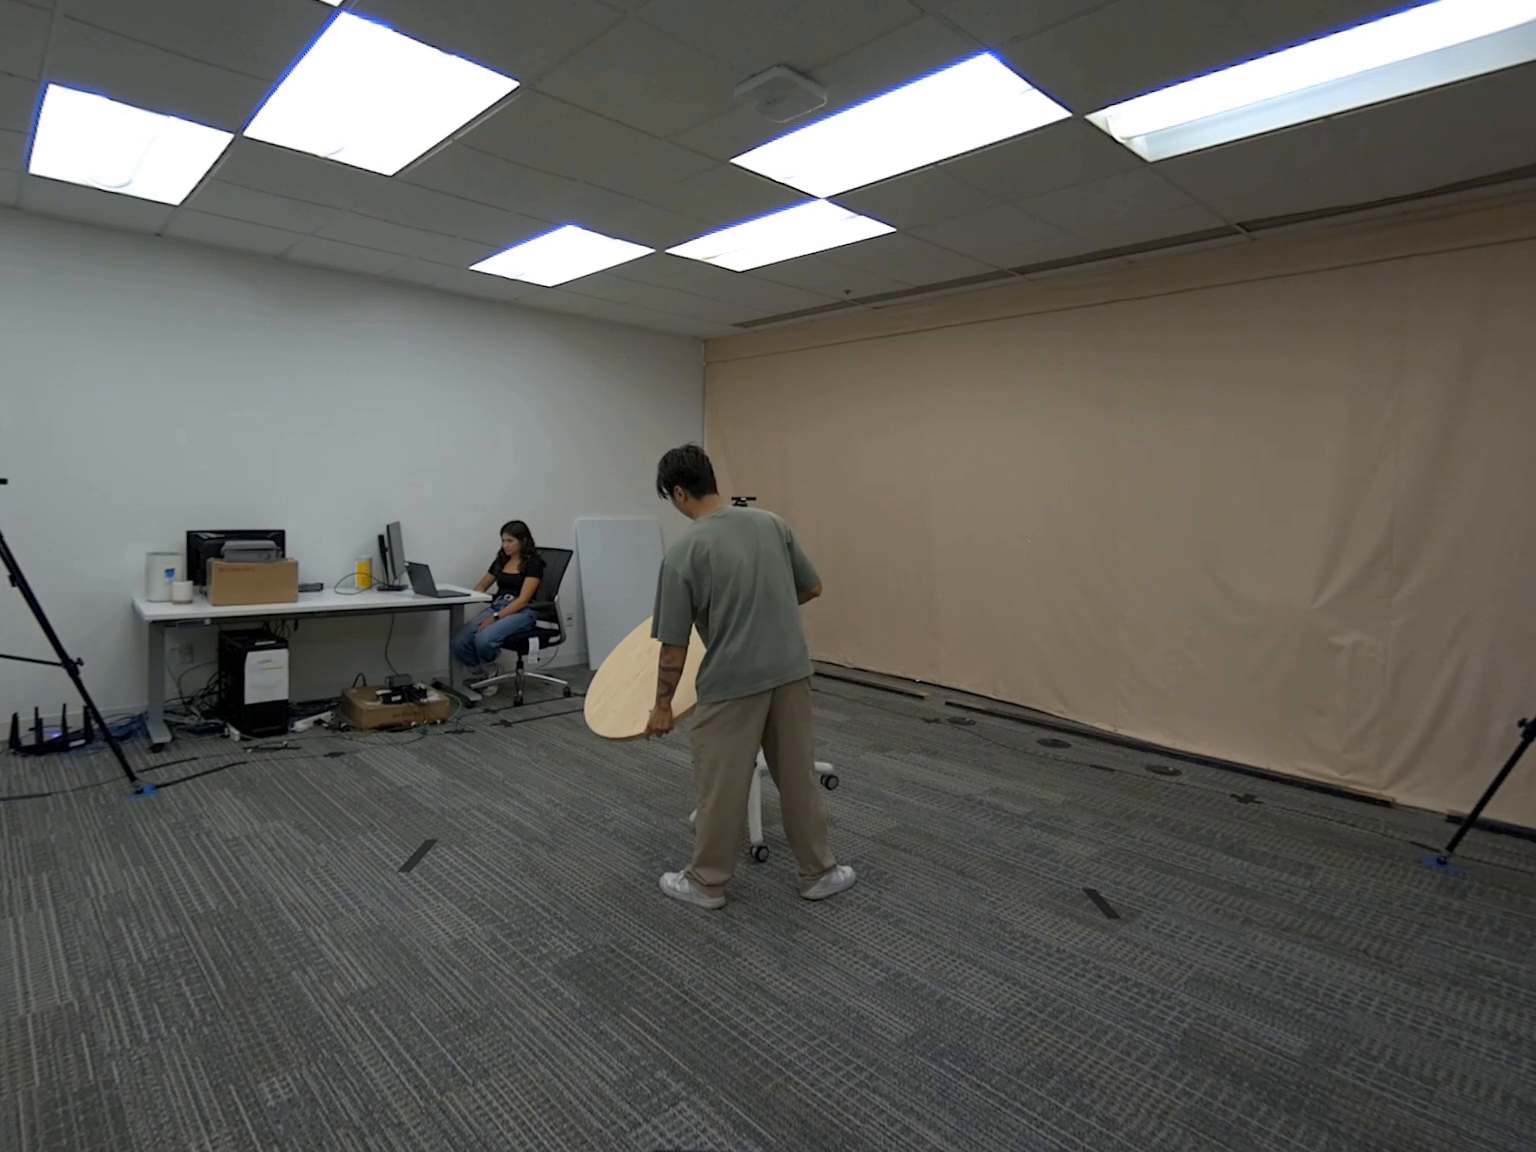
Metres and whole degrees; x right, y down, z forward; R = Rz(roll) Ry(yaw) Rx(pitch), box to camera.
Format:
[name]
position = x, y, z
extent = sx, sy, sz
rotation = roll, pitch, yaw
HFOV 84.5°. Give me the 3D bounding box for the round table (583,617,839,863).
[round table]
position = -0.204, 0.607, 3.392
extent = 0.789, 0.768, 0.800
rotation = -27, 26, 13
